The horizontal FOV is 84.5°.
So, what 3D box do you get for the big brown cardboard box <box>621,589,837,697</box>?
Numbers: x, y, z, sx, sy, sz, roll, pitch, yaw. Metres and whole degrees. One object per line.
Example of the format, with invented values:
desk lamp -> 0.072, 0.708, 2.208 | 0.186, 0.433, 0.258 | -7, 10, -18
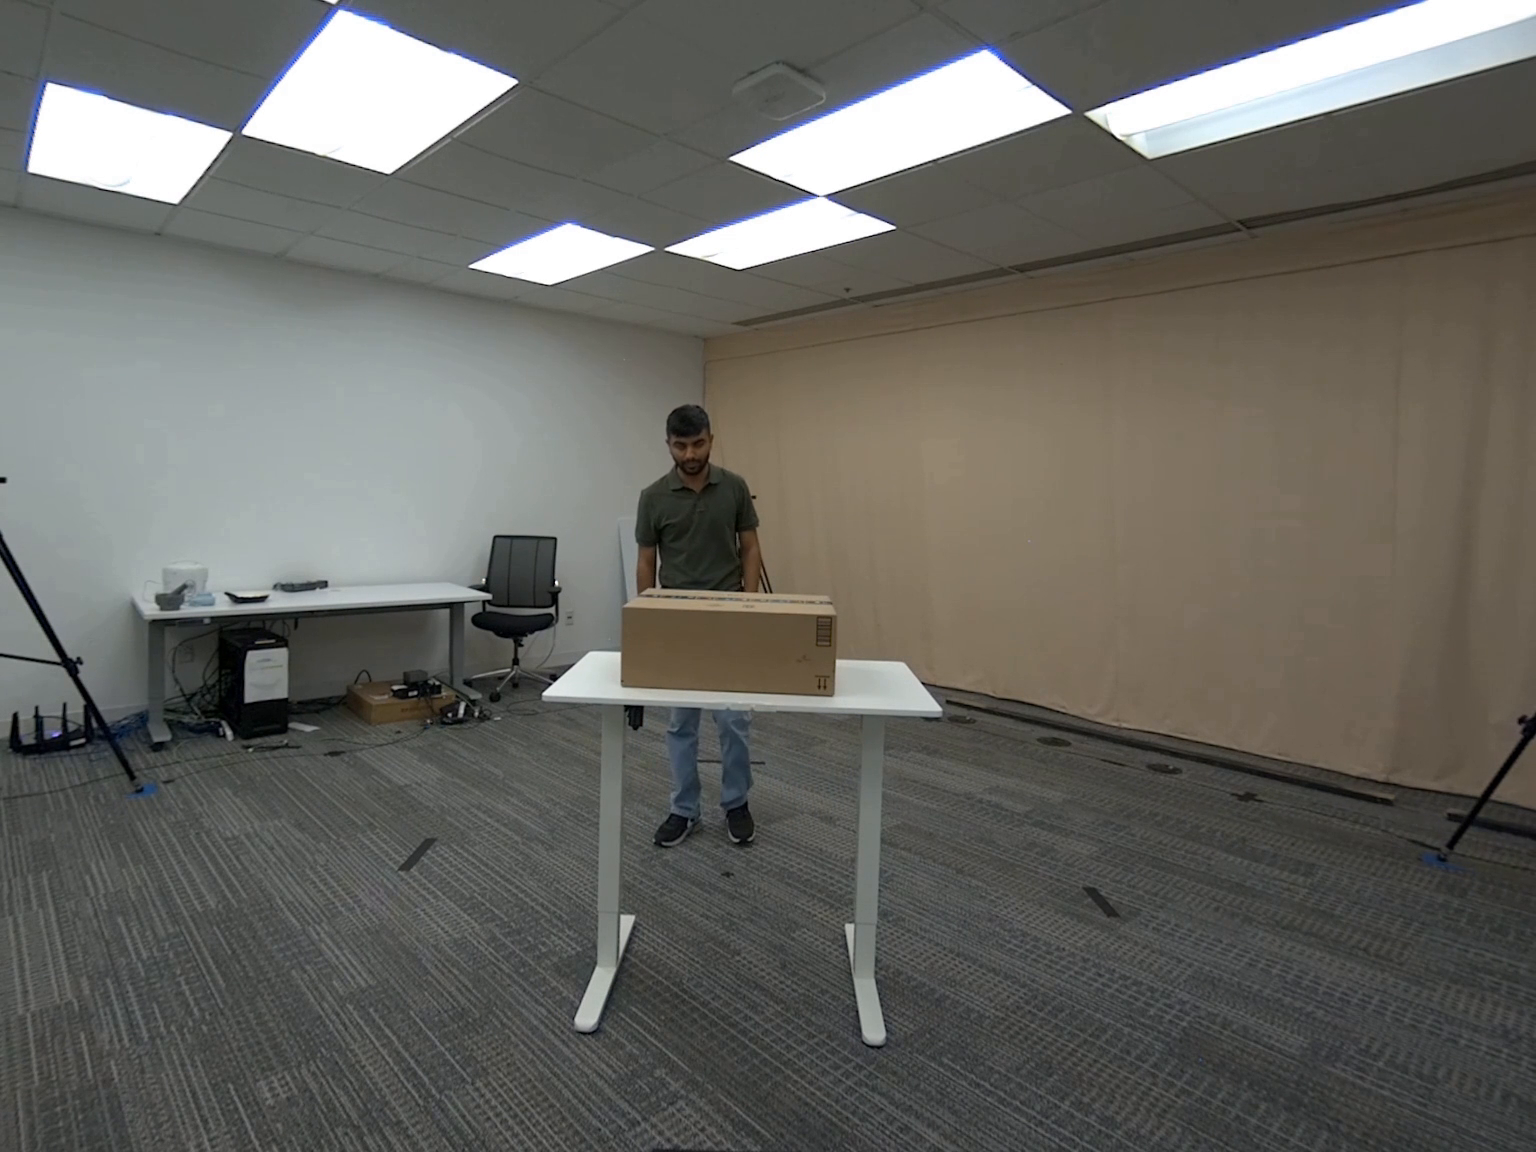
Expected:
big brown cardboard box -> -0.119, 0.180, 2.405 | 0.592, 0.232, 0.417 | 1, 6, 5
